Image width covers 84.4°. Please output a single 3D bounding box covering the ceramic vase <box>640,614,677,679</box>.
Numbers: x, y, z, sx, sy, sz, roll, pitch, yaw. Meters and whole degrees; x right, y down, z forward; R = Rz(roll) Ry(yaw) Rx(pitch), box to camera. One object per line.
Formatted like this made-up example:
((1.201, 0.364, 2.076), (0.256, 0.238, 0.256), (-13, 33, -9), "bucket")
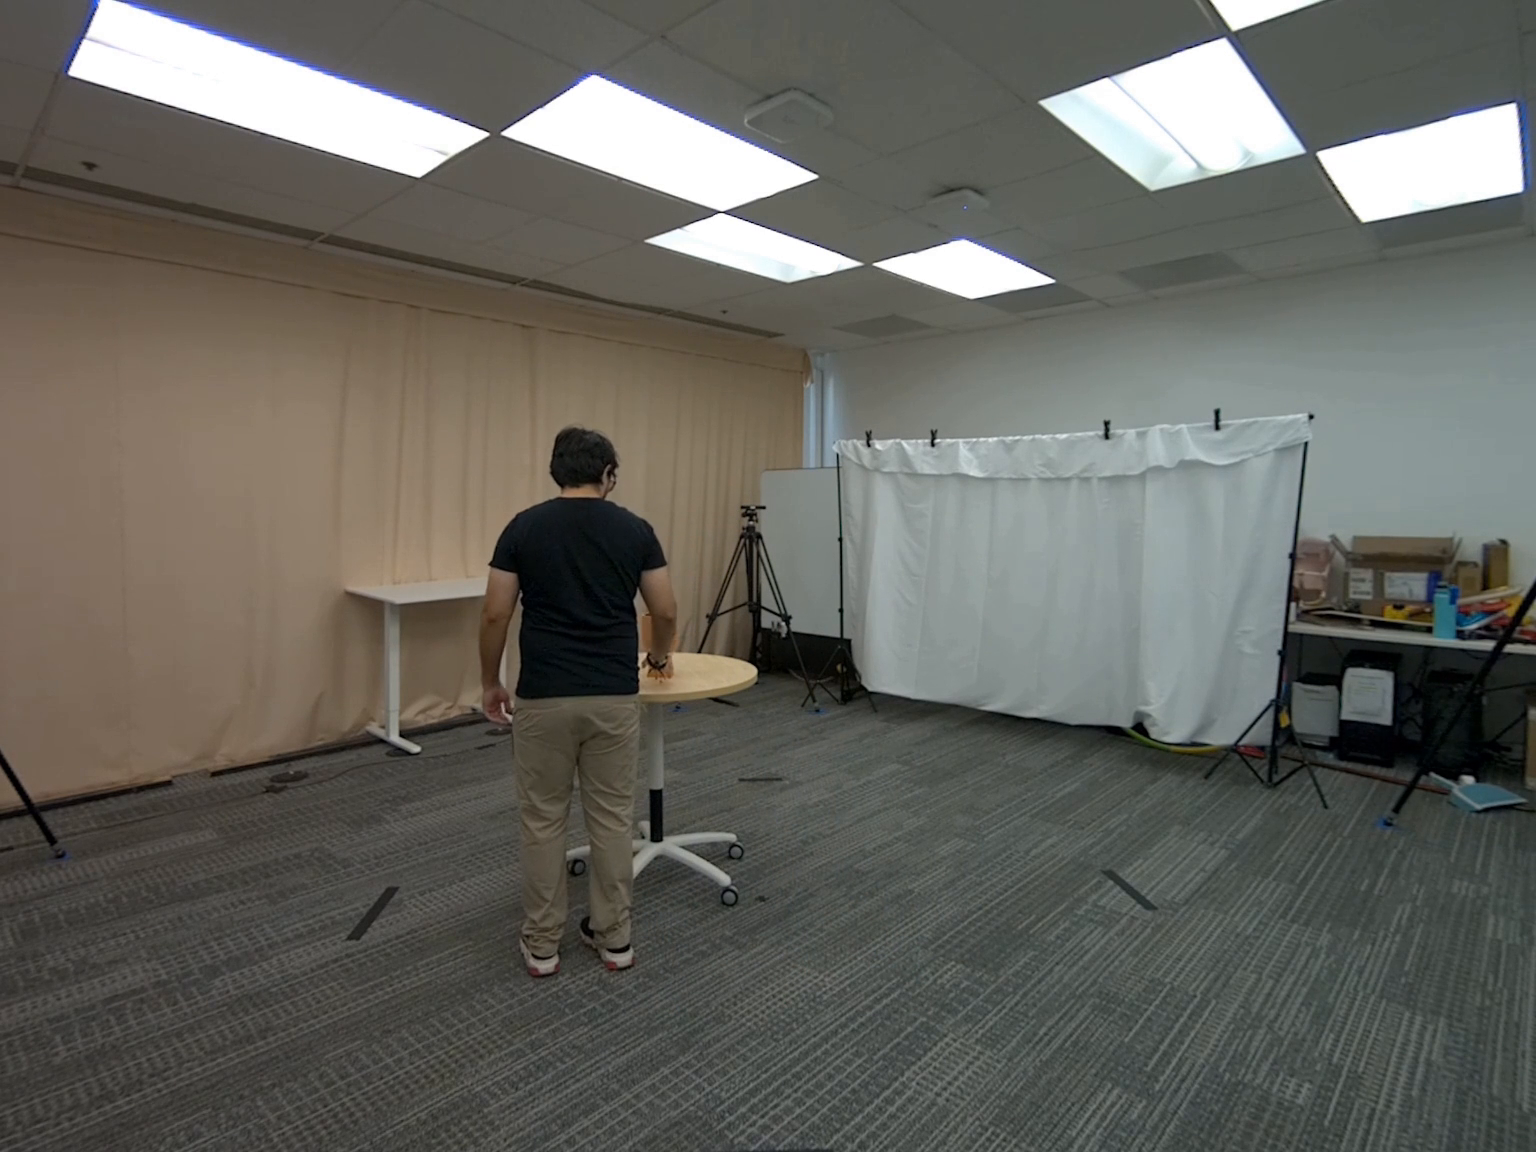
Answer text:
((-0.388, 0.252, 3.041), (0.135, 0.219, 0.159), (-1, 3, -1), "ceramic vase")
